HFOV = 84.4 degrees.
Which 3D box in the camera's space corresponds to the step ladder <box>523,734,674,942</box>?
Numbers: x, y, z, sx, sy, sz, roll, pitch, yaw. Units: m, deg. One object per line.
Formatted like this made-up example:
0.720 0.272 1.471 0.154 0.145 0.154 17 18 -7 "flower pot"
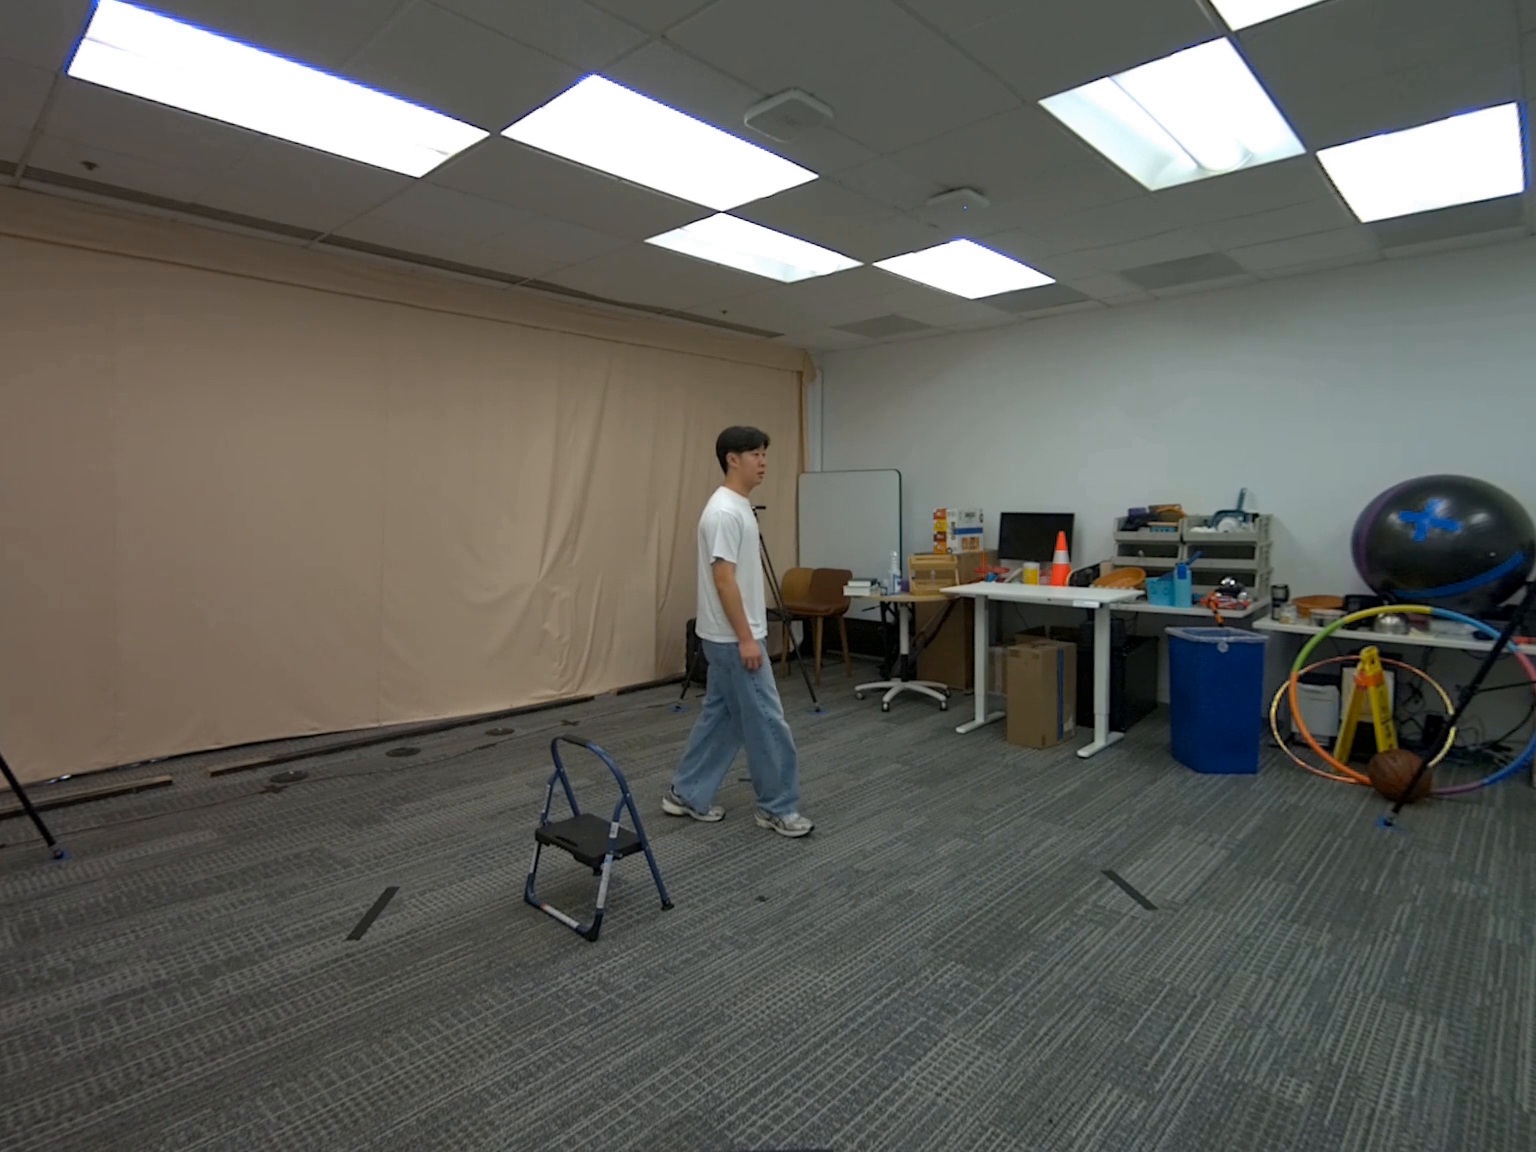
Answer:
-0.600 0.848 2.936 0.445 0.605 0.338 2 4 43 "step ladder"
